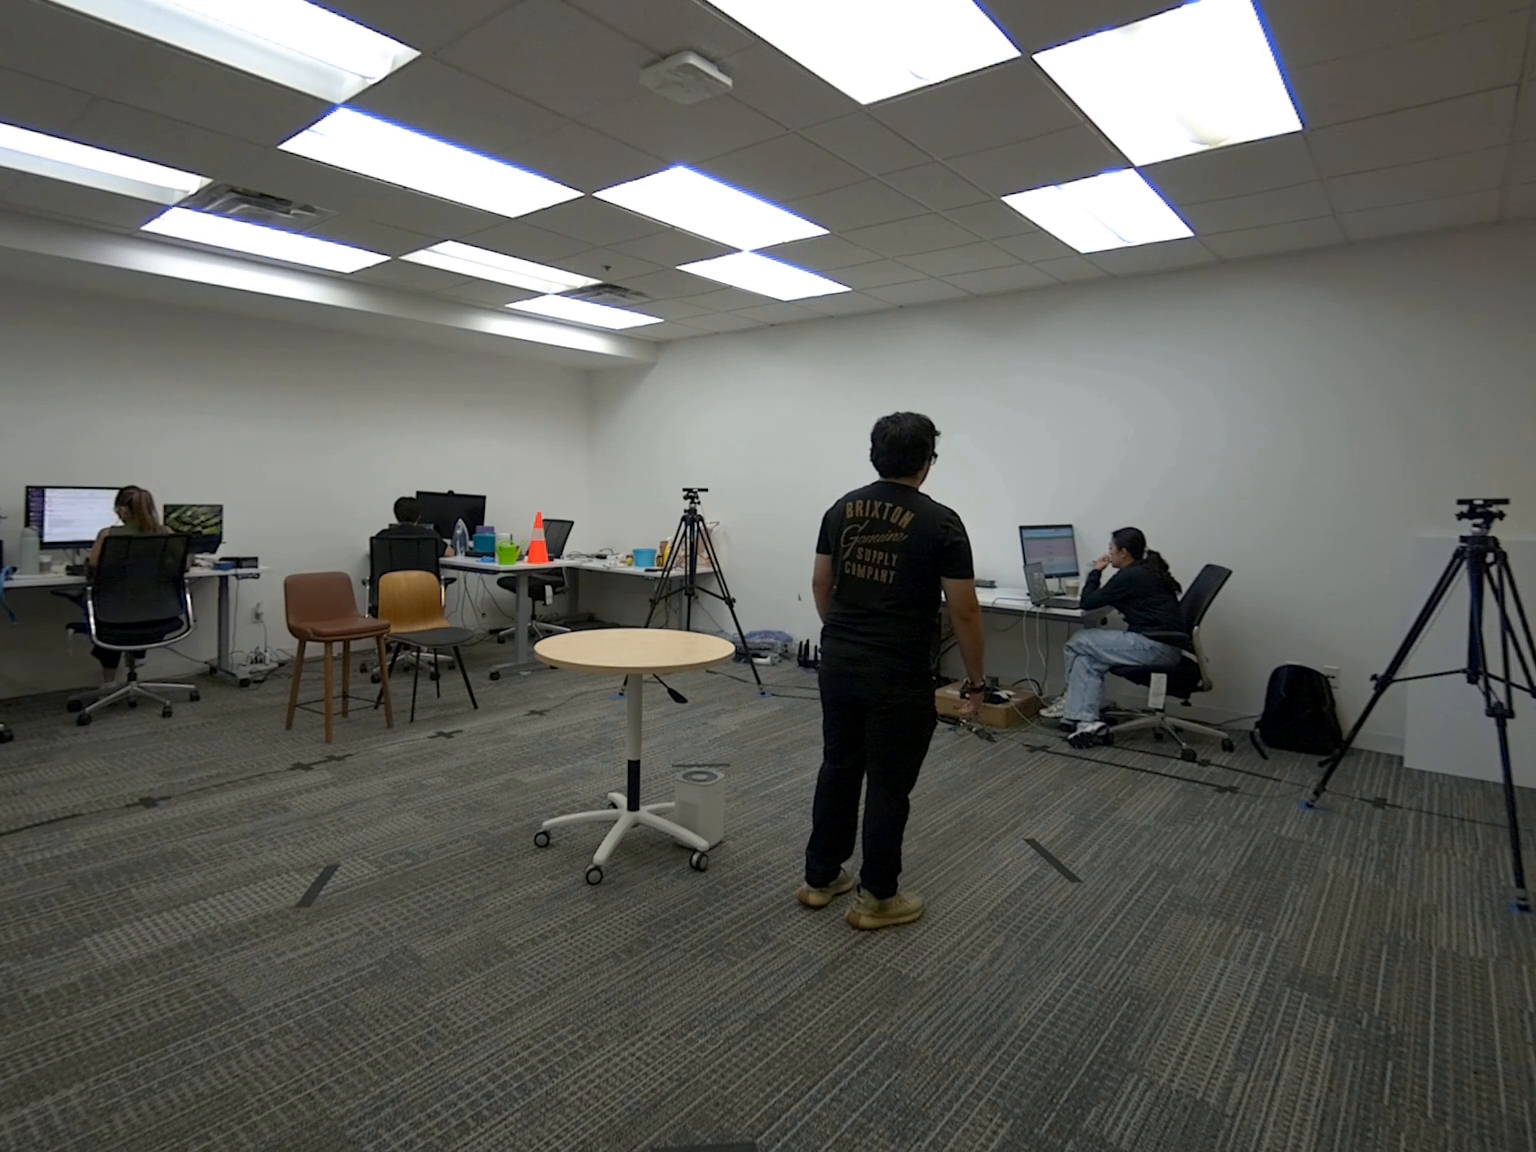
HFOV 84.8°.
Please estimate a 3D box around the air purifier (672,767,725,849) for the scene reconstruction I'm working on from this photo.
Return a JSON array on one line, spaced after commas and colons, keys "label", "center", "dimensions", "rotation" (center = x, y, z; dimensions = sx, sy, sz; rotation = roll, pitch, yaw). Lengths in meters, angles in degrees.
[{"label": "air purifier", "center": [-0.276, 0.913, 3.341], "dimensions": [0.176, 0.265, 0.167], "rotation": [2, 4, 27]}]
